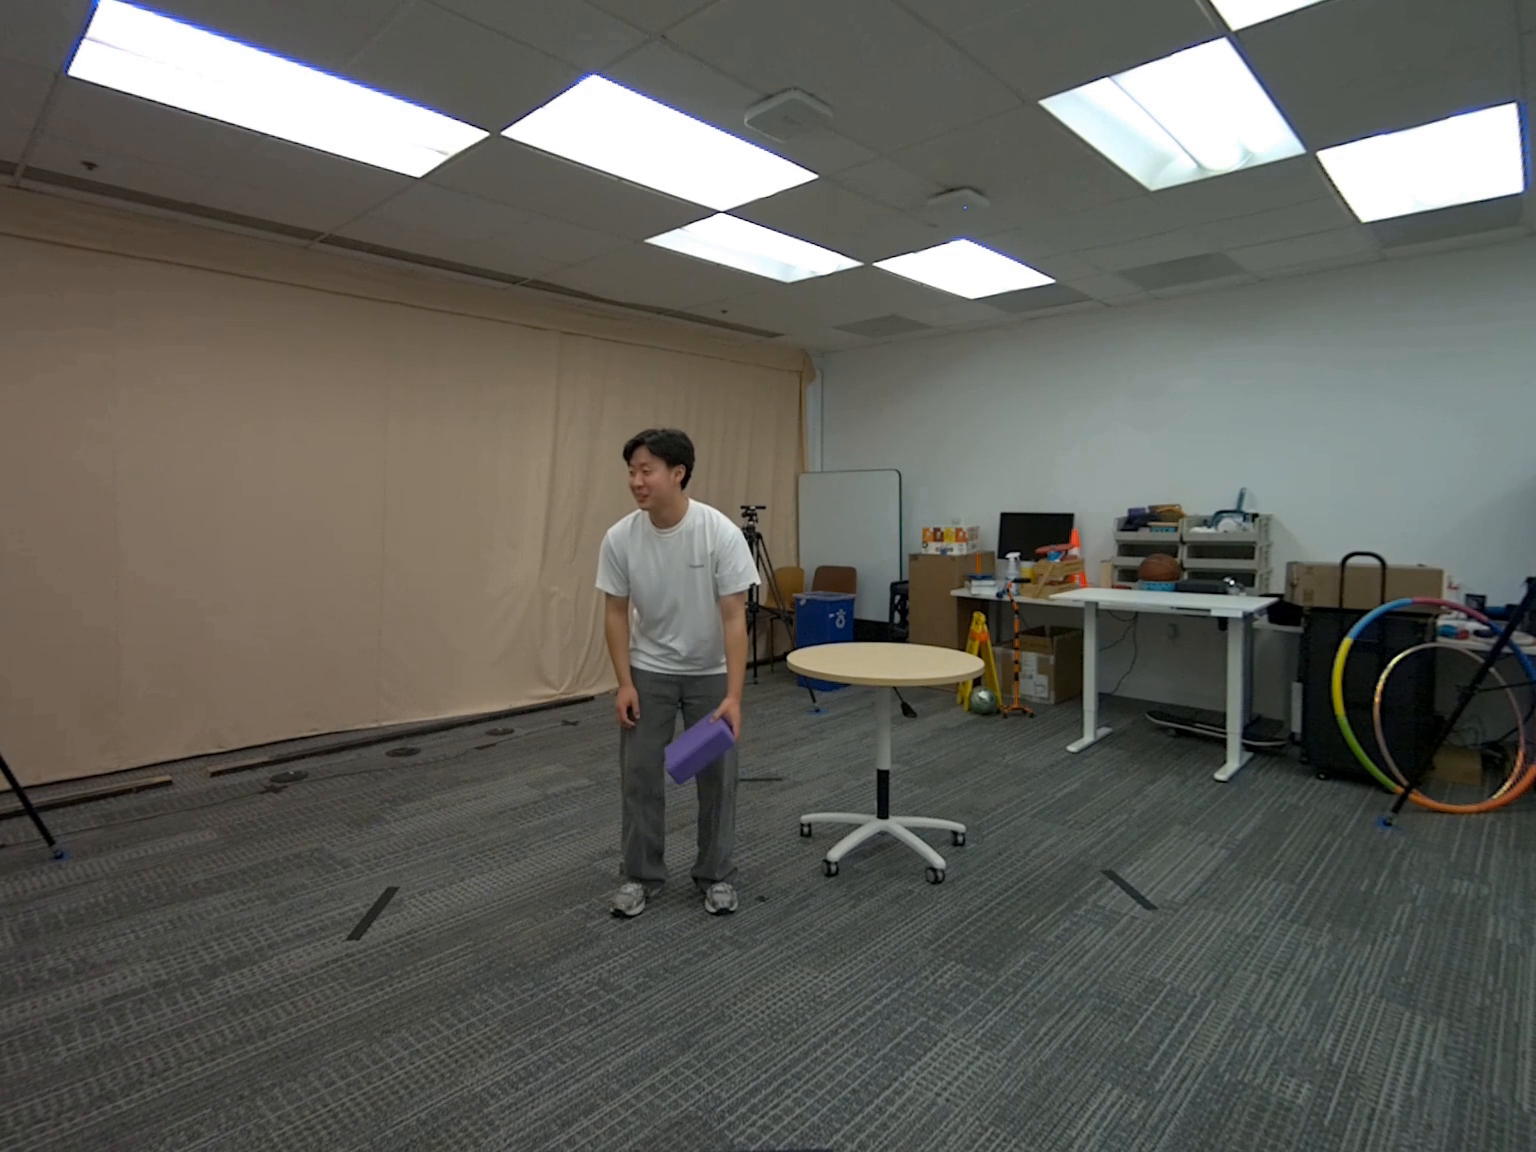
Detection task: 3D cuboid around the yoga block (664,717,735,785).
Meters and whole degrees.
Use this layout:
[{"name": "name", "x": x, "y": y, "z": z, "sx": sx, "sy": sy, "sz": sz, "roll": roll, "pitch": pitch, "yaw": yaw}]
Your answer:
[{"name": "yoga block", "x": -0.228, "y": 0.549, "z": 2.705, "sx": 0.230, "sy": 0.075, "sz": 0.151, "roll": -39, "pitch": 18, "yaw": 4}]
